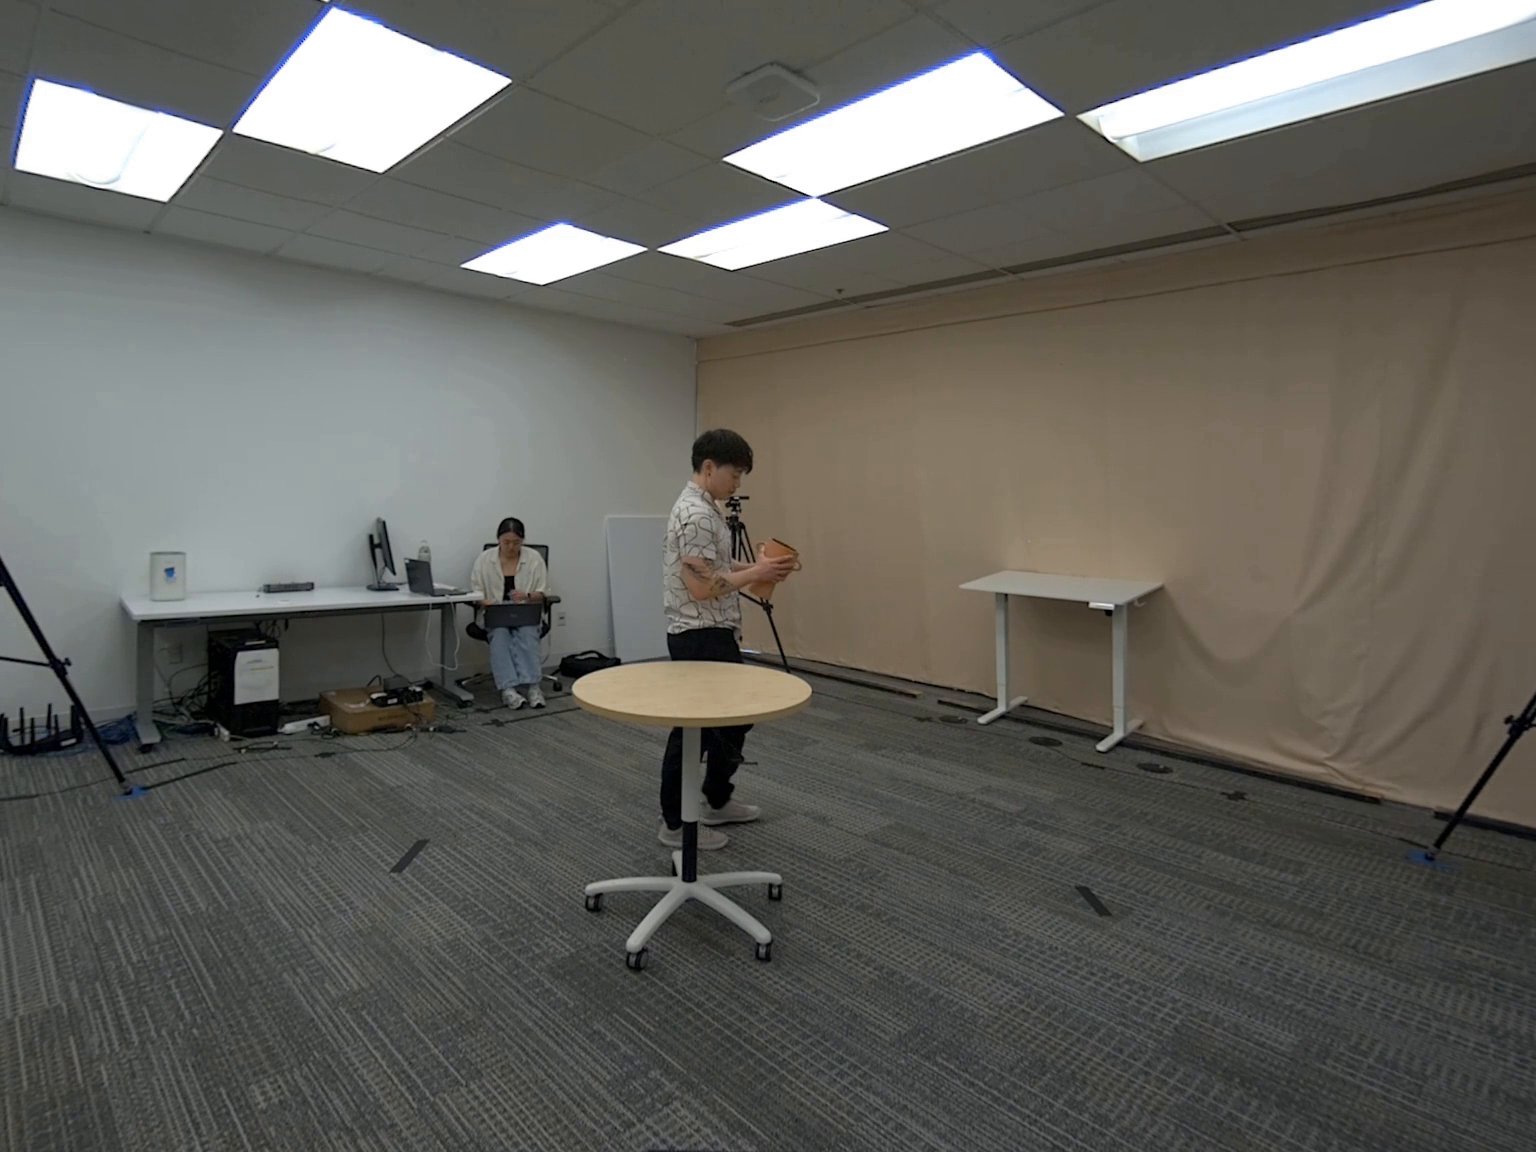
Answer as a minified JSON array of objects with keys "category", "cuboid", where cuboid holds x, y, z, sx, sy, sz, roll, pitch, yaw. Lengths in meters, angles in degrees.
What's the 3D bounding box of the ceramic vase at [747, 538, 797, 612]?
[{"category":"ceramic vase","cuboid":[0.006,-0.024,3.295,0.131,0.219,0.164,19,12,-44]}]
